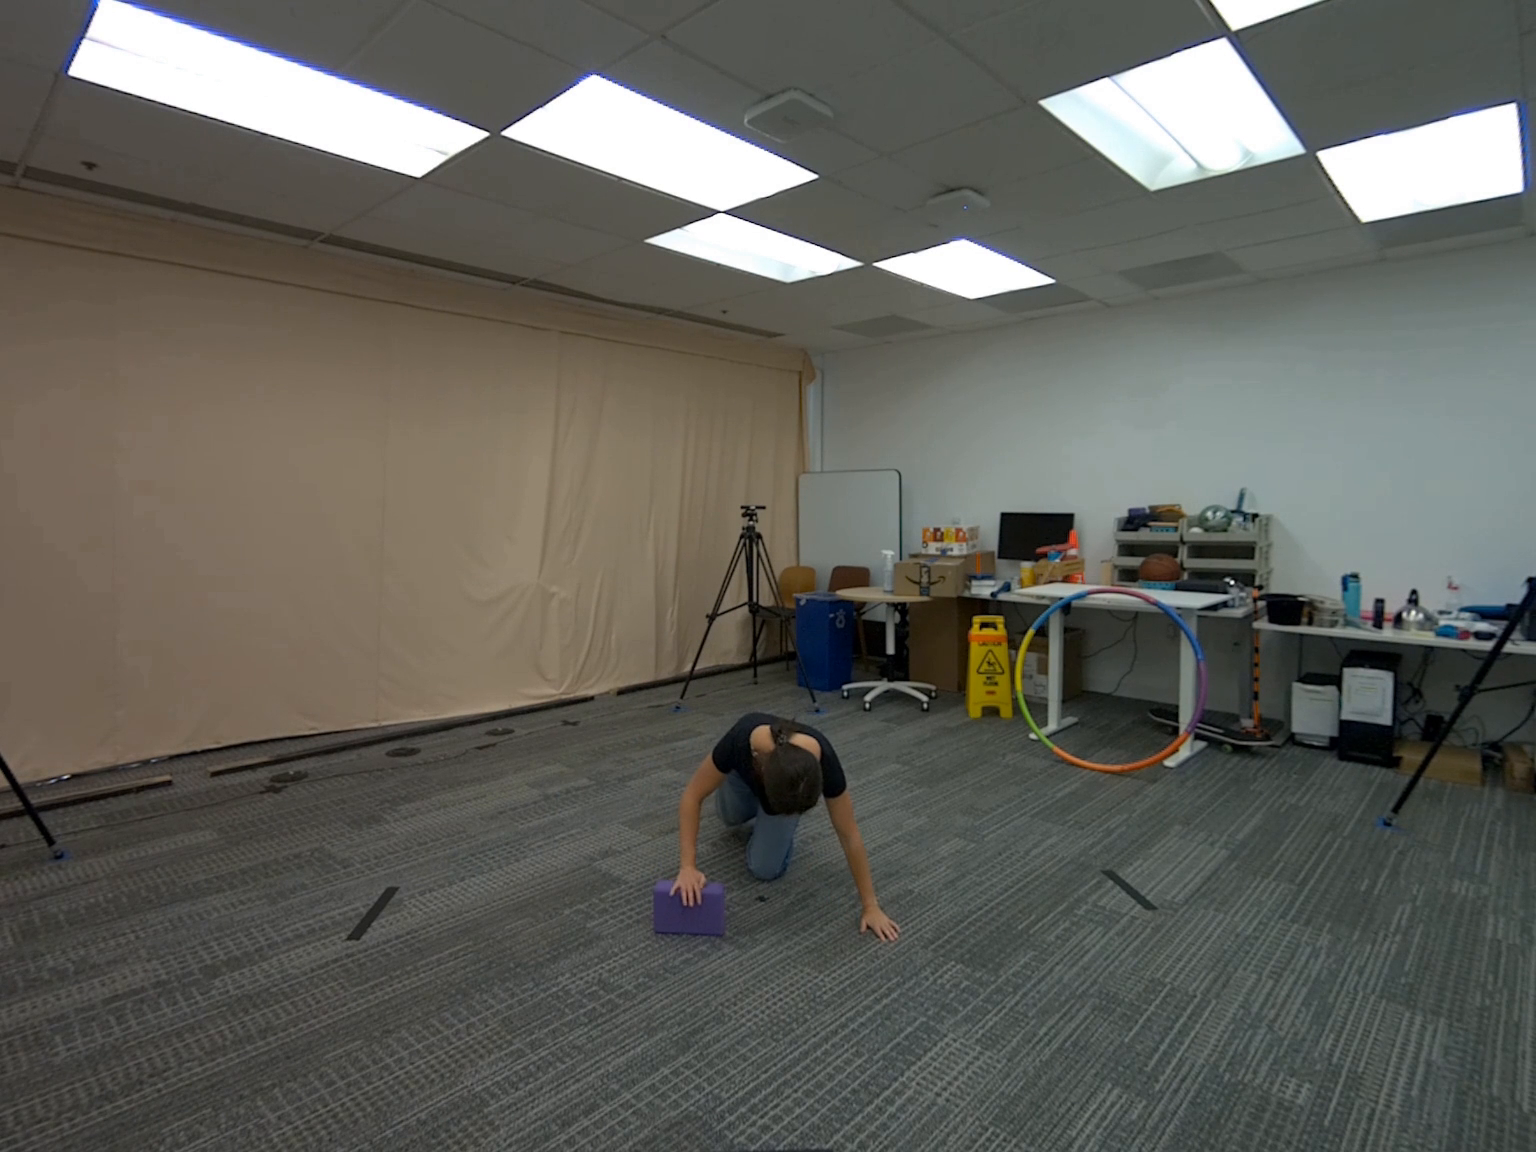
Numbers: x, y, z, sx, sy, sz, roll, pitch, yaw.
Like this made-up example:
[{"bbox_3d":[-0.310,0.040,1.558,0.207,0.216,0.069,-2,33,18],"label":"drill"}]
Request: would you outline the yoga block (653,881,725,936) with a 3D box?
[{"bbox_3d":[-0.252,1.089,2.765,0.230,0.149,0.076,0,3,2],"label":"yoga block"}]
